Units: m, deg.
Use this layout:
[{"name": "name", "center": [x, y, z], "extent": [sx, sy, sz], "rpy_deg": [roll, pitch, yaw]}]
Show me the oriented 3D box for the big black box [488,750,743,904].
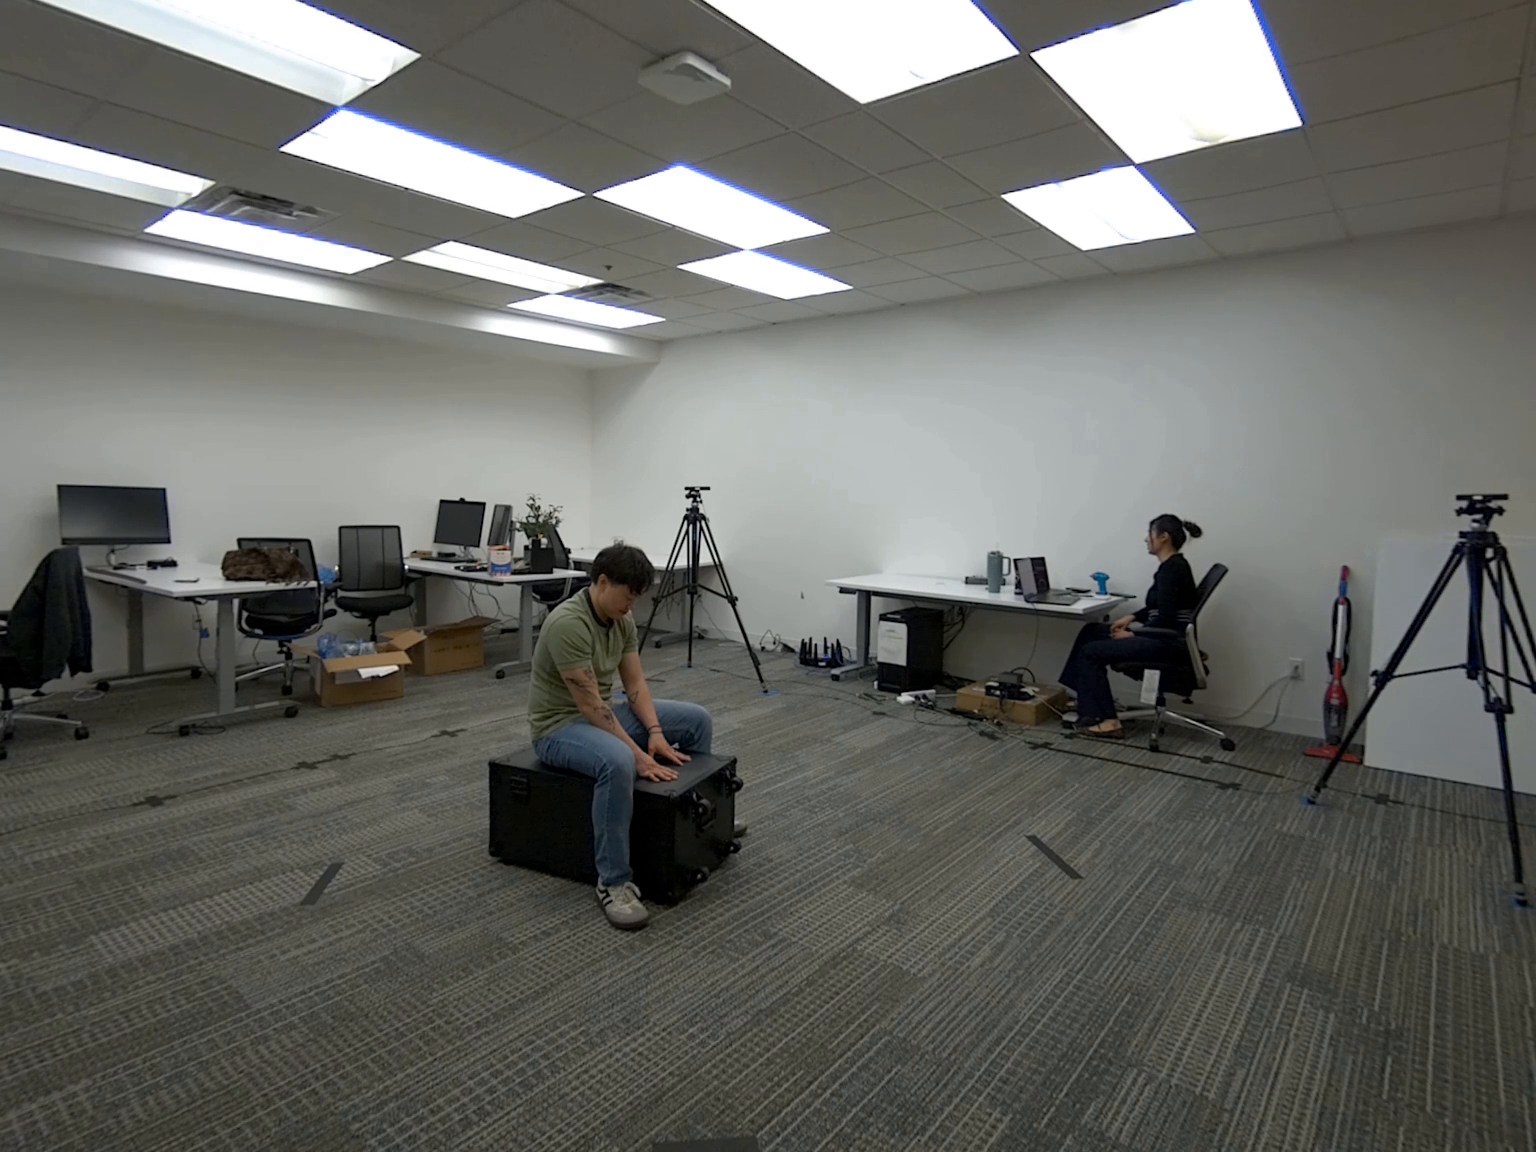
[{"name": "big black box", "center": [-0.558, 0.867, 3.157], "extent": [0.883, 0.395, 0.510], "rpy_deg": [2, 4, 24]}]
